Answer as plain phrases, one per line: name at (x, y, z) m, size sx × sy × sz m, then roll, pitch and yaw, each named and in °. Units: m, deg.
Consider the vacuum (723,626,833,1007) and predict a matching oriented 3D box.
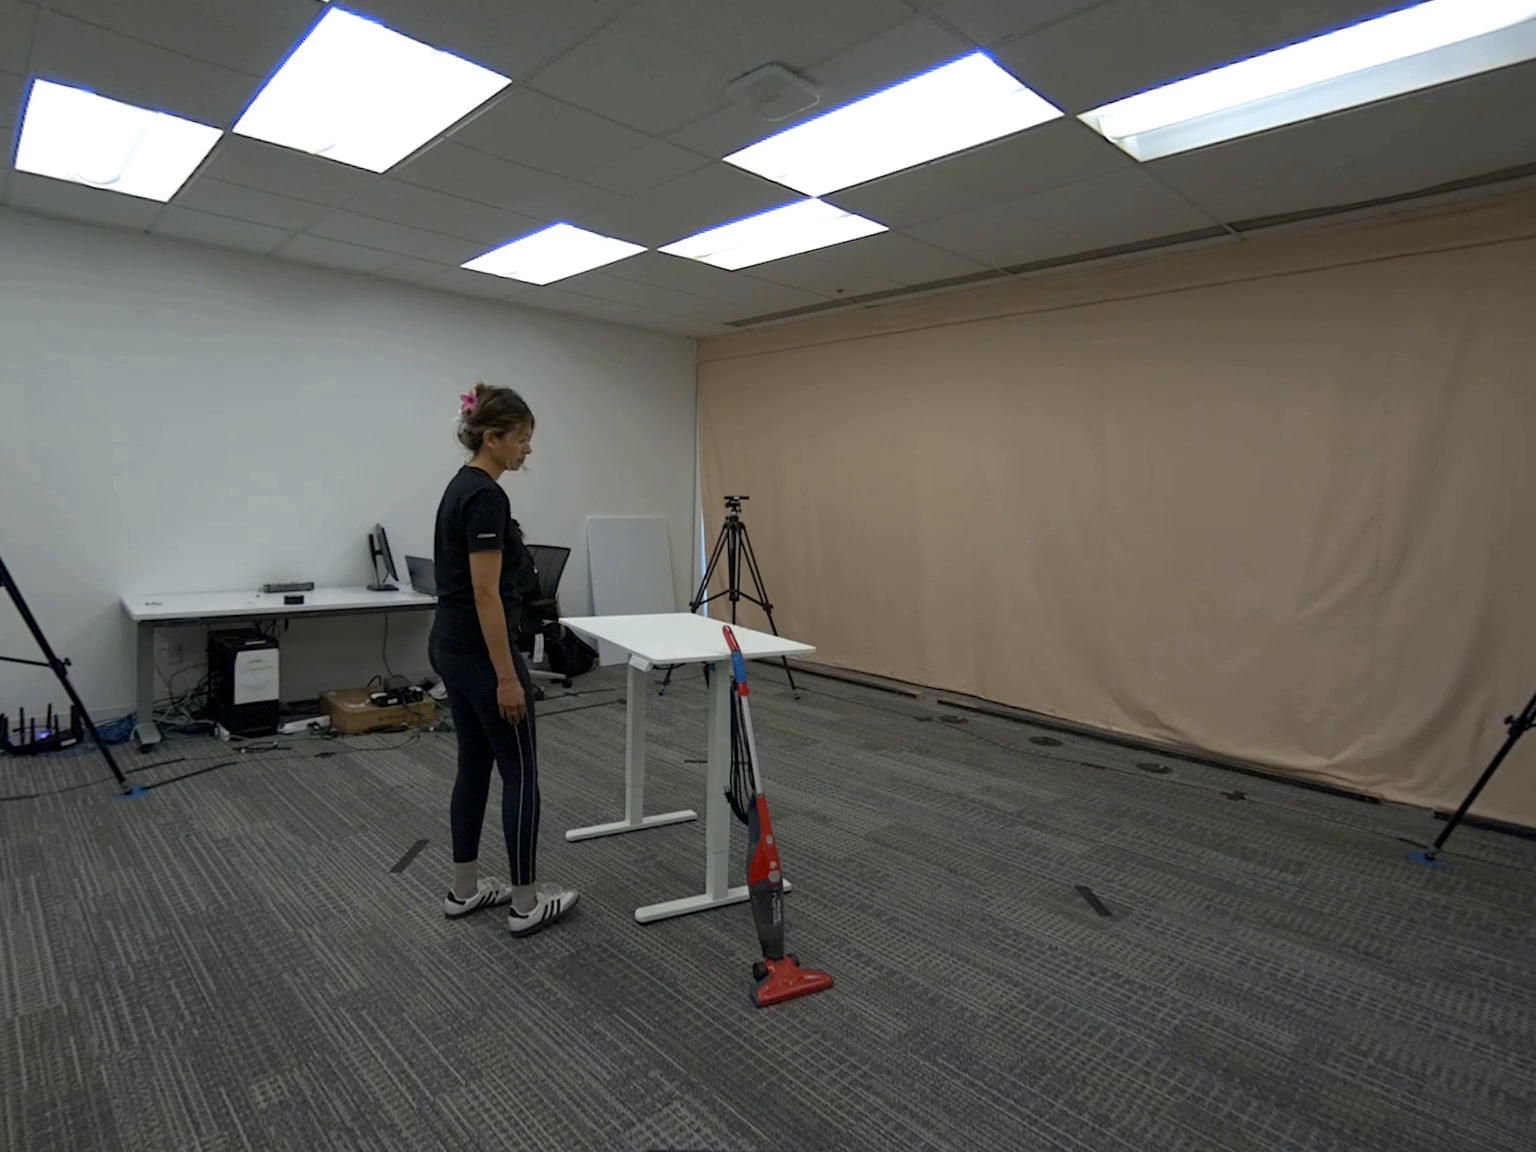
vacuum at (-0.049, 0.676, 2.572) m, size 0.246 × 1.065 × 0.145 m, roll 5°, pitch -24°, yaw -42°
